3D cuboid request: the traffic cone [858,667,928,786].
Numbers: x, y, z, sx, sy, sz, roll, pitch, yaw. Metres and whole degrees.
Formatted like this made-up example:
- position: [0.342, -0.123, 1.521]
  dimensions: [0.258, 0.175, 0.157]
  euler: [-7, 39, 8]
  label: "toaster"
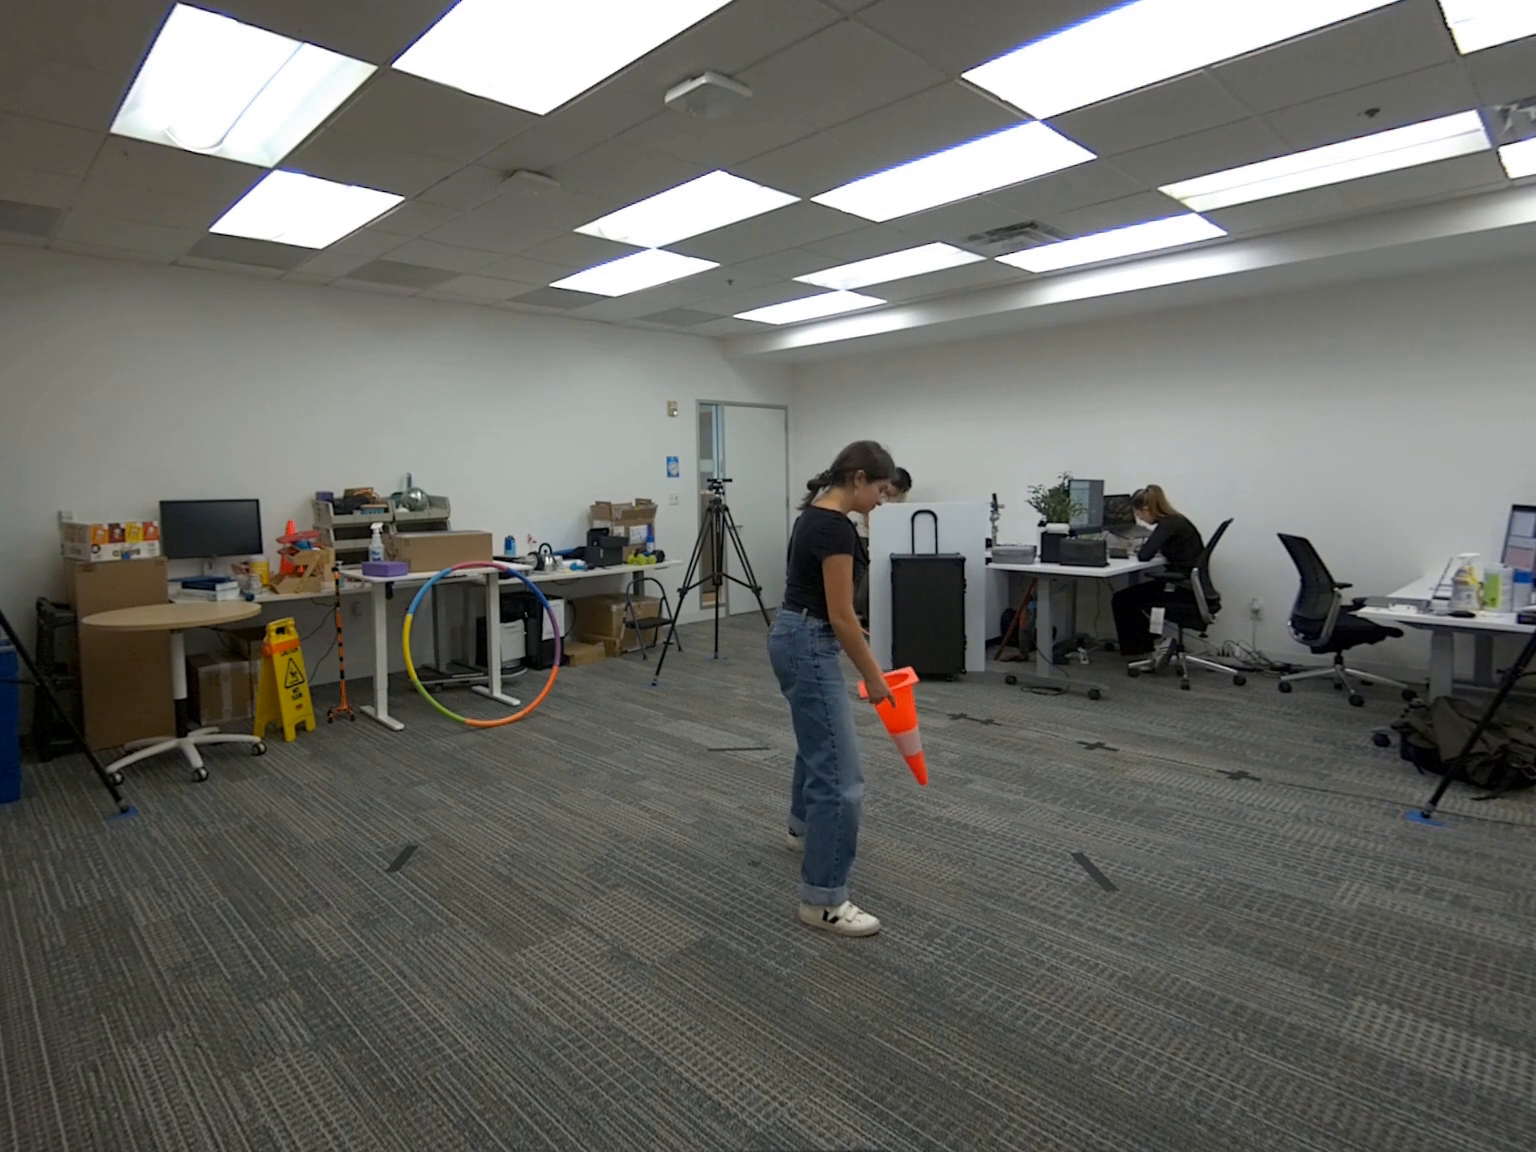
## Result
- position: [0.481, 0.547, 2.924]
  dimensions: [0.206, 0.381, 0.203]
  euler: [-22, 6, 13]
  label: "traffic cone"
